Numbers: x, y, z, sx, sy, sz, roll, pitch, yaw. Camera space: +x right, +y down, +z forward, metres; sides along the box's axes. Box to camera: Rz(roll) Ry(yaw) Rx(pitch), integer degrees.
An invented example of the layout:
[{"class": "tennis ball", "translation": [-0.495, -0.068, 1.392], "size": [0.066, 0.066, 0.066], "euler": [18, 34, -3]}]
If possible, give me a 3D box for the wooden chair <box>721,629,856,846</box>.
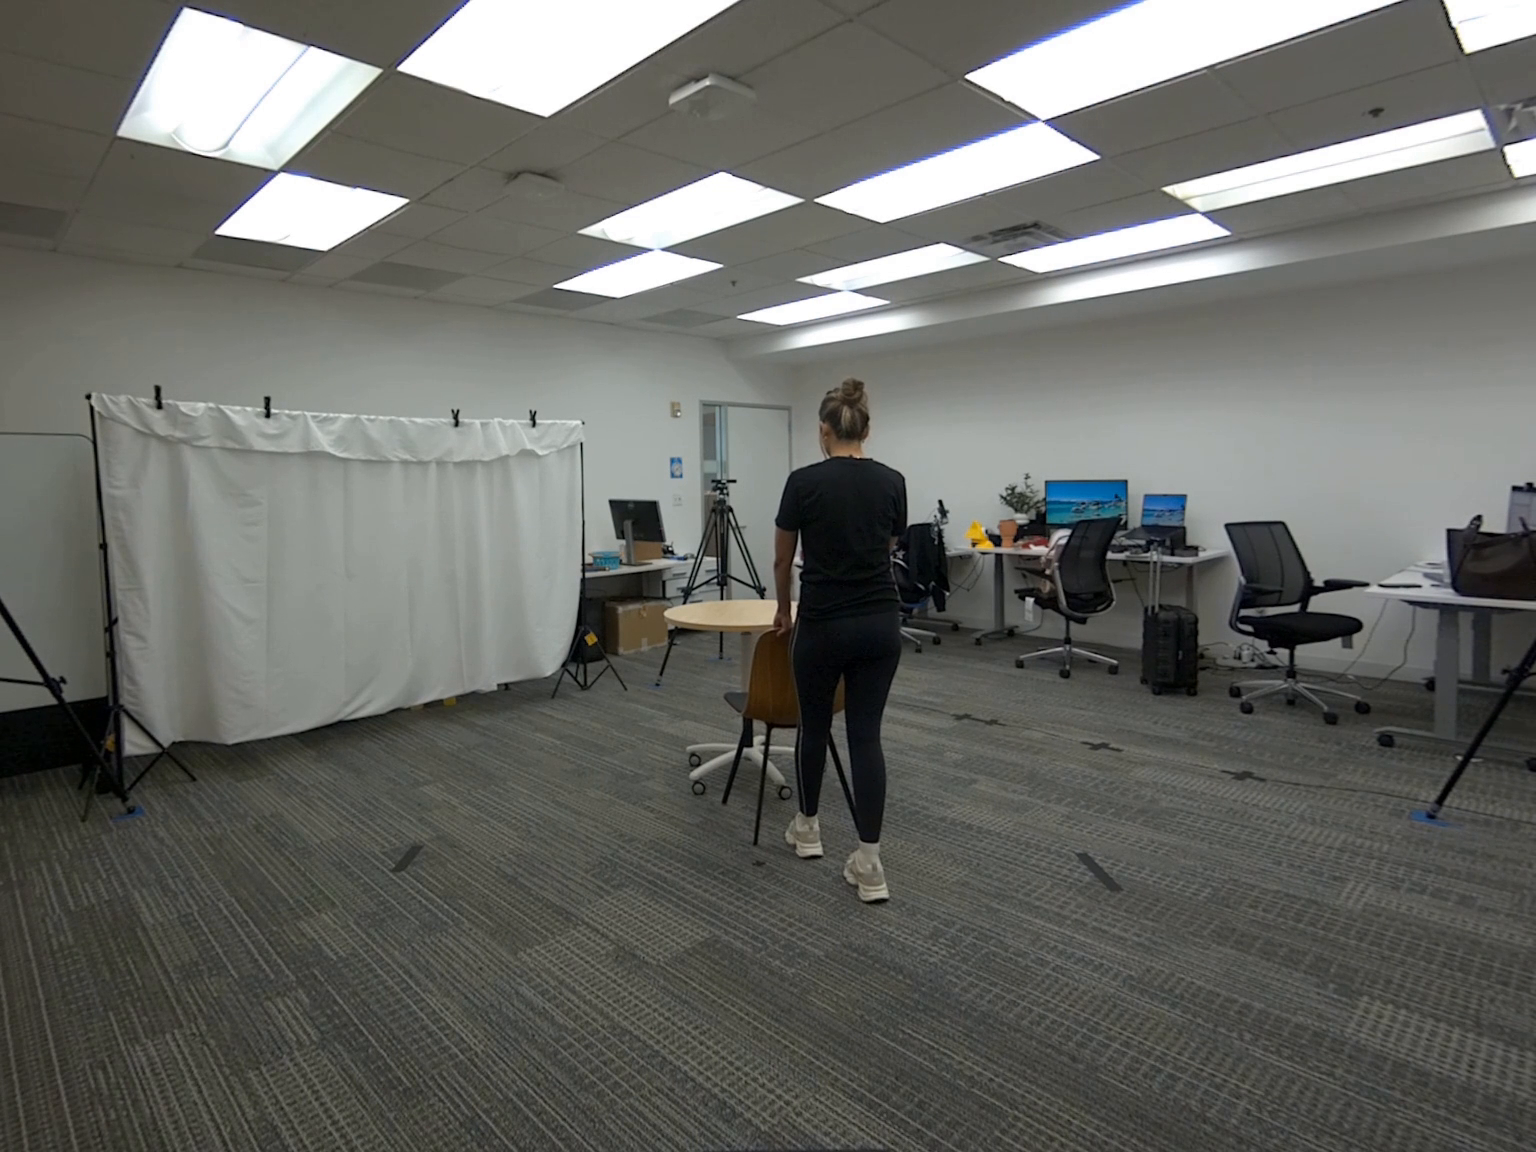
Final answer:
[{"class": "wooden chair", "translation": [0.081, 0.574, 3.507], "size": [0.471, 0.870, 0.535], "euler": [-3, 9, -17]}]
